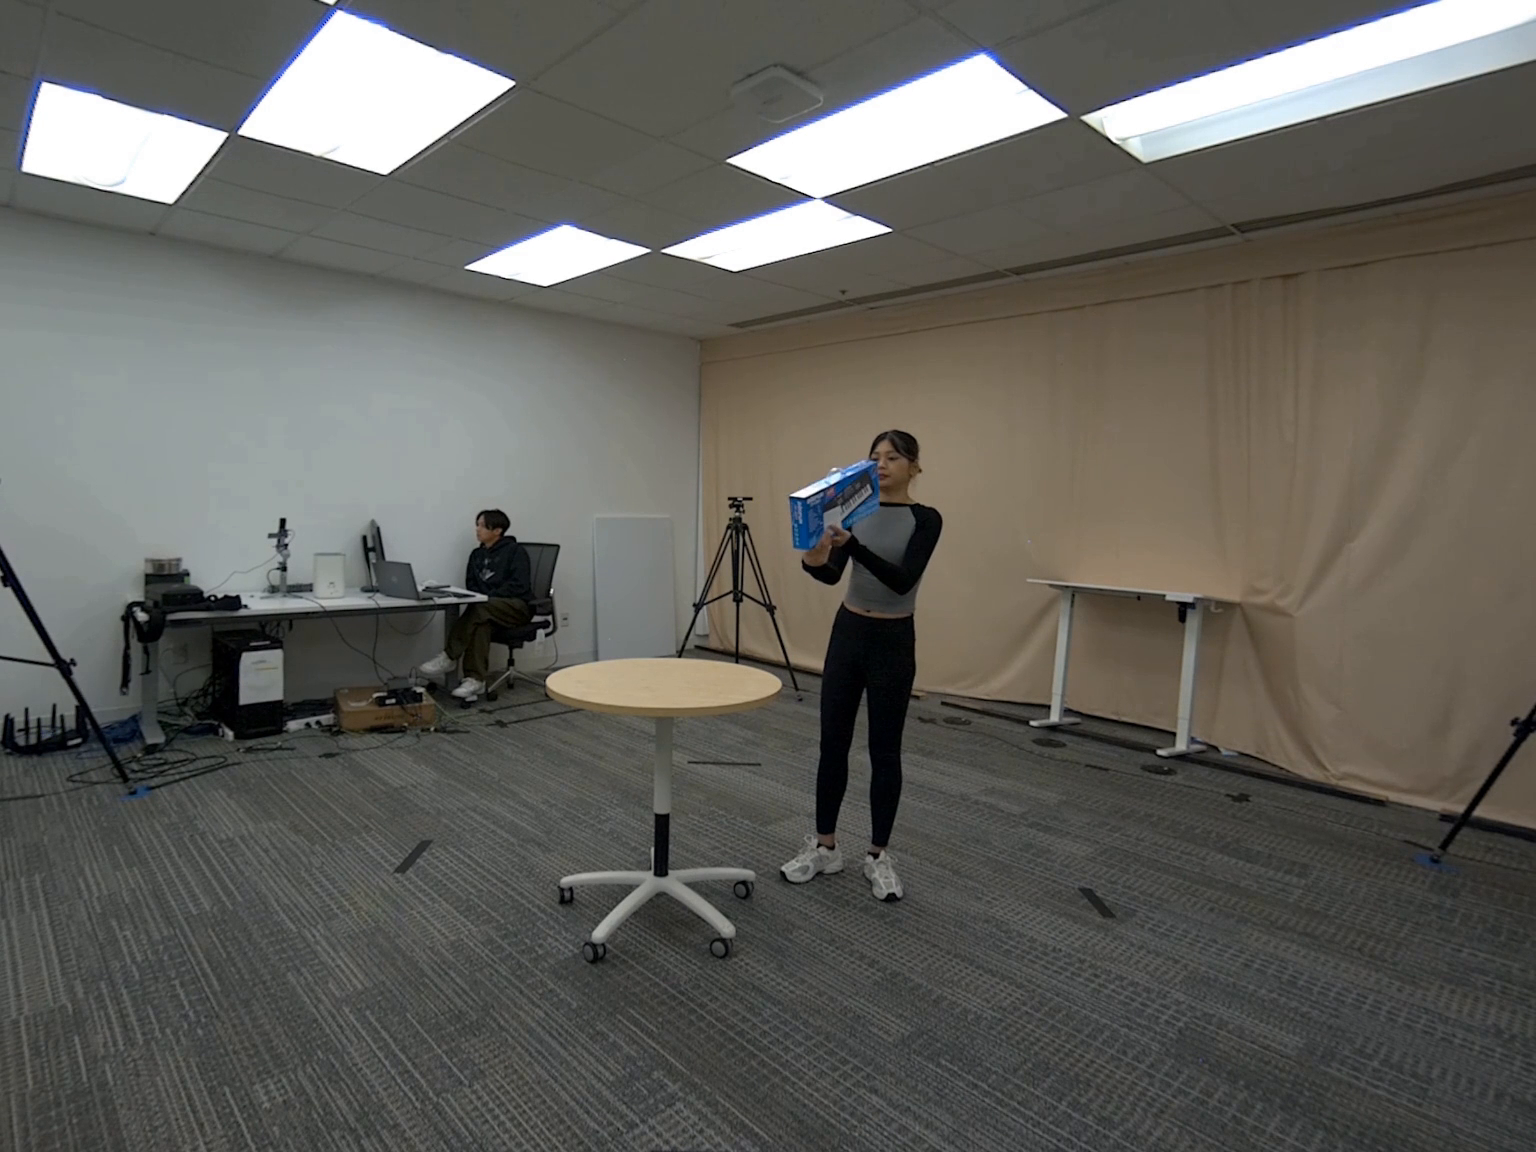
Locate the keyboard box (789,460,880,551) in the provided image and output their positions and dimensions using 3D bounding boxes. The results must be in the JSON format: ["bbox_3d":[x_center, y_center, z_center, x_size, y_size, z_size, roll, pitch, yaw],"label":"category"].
[{"bbox_3d":[0.221,-0.235,2.742,0.060,0.173,0.432,10,26,36],"label":"keyboard box"}]
